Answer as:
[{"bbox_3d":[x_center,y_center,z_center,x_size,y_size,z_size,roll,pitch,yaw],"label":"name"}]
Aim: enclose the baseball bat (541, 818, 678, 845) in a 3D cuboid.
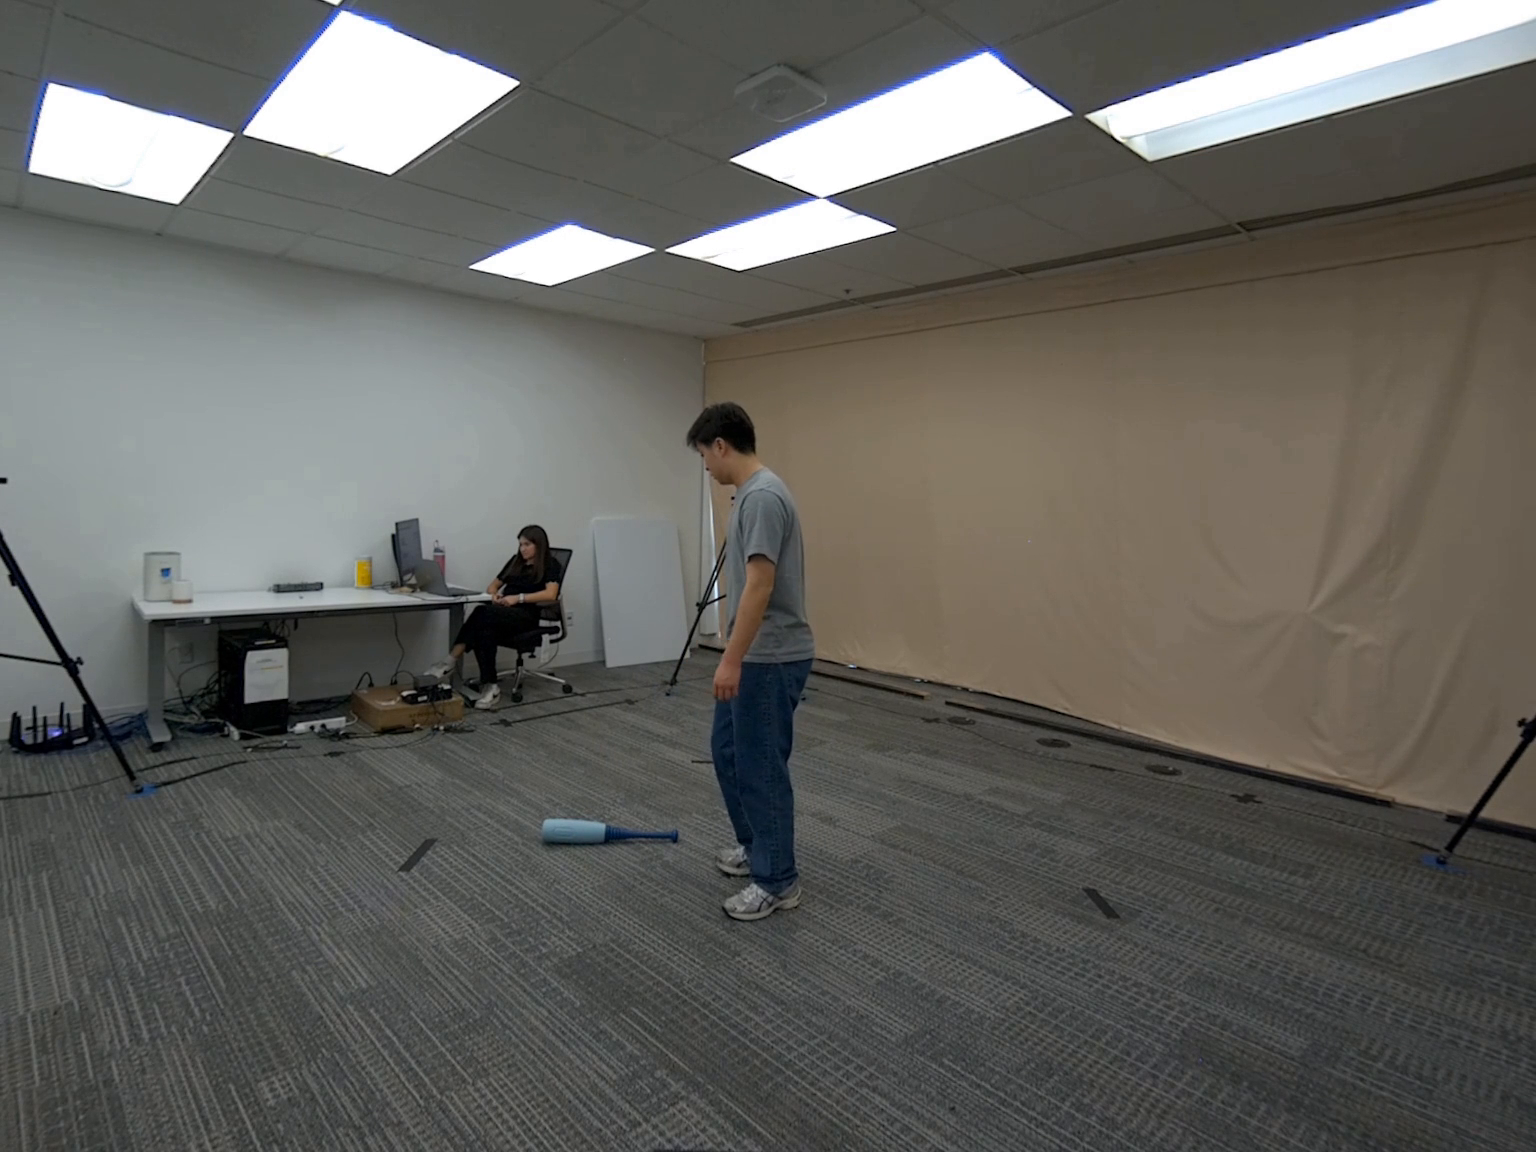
[{"bbox_3d":[-0.639,1.035,3.373,0.541,0.089,0.089,4,4,-4],"label":"baseball bat"}]
